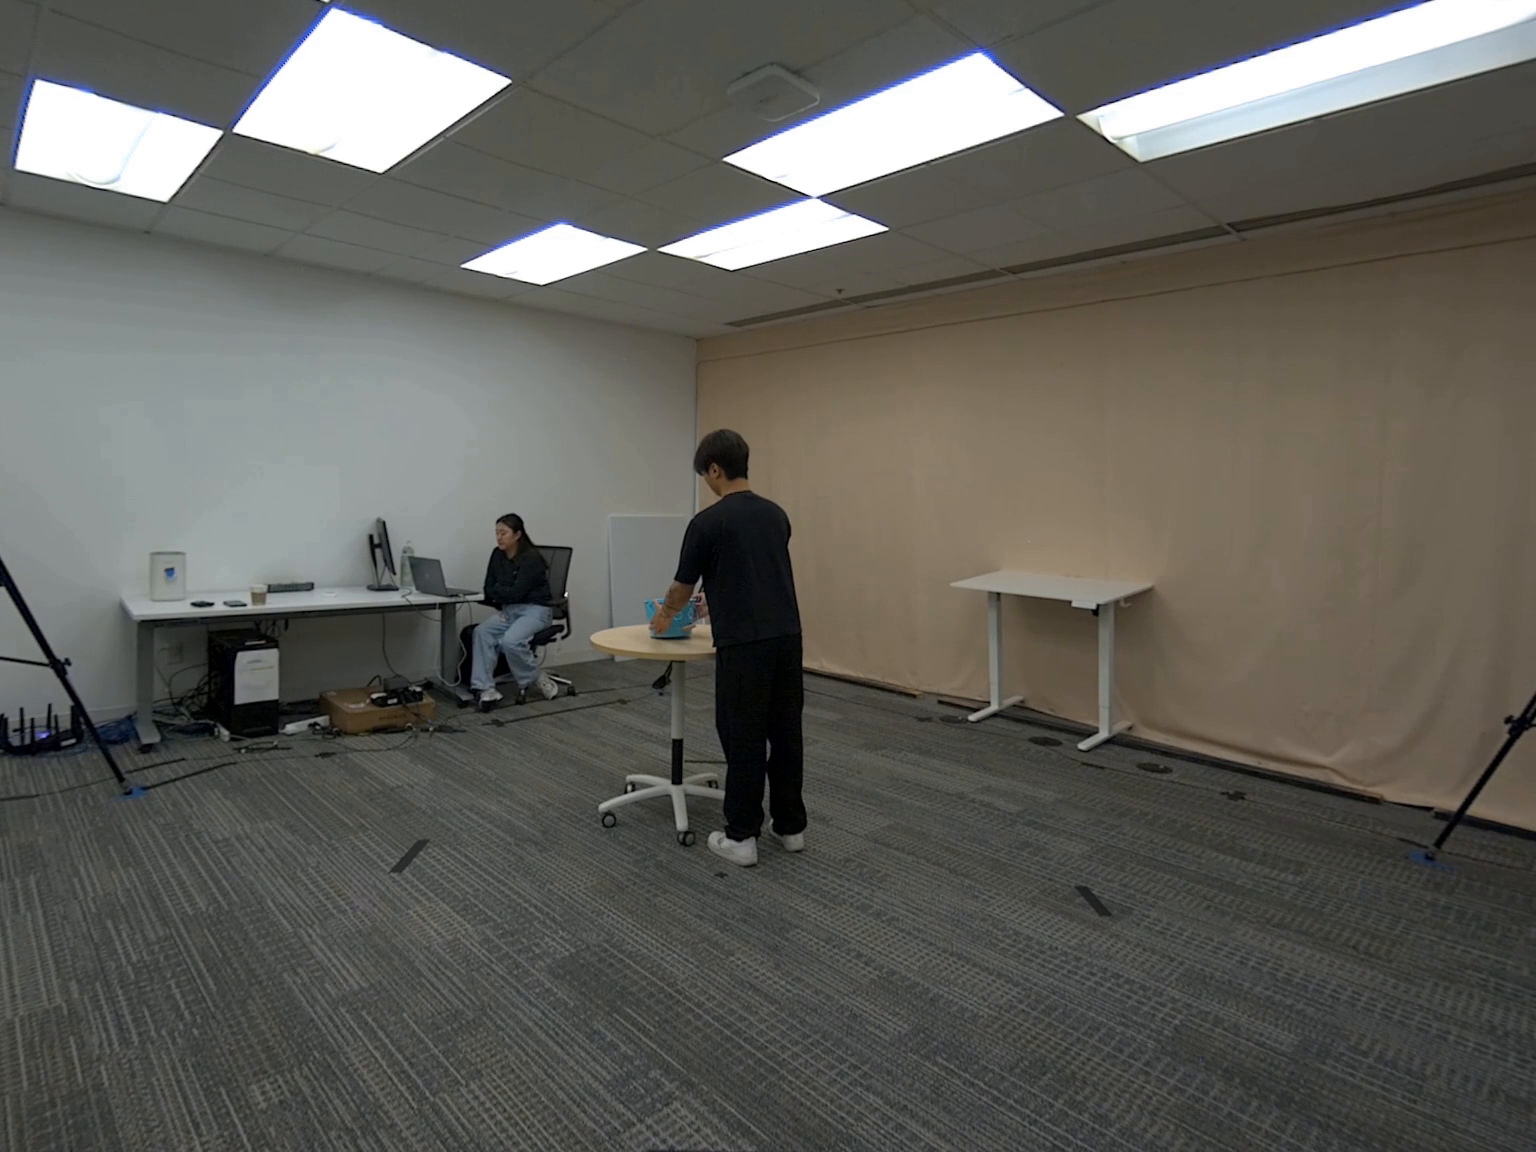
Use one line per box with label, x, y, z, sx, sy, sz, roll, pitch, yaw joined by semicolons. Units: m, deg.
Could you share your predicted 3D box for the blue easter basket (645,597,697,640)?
blue easter basket;-0.436;0.180;3.650;0.243;0.156;0.244;-3;0;-1
